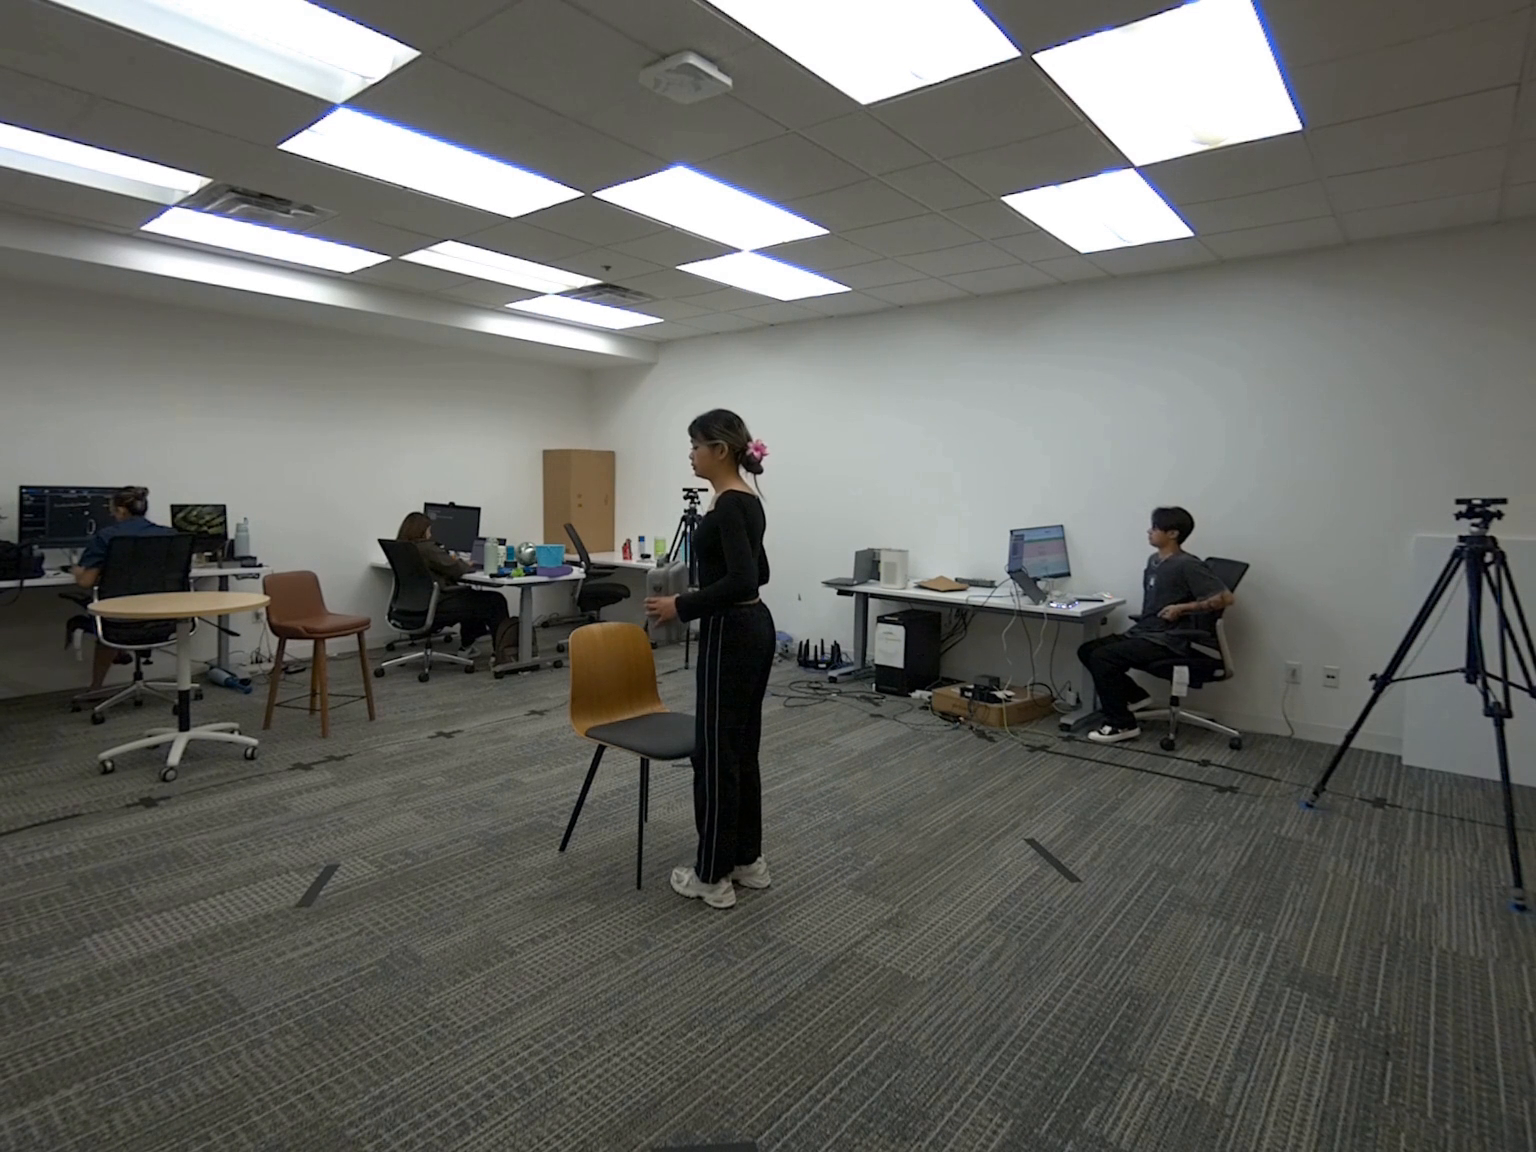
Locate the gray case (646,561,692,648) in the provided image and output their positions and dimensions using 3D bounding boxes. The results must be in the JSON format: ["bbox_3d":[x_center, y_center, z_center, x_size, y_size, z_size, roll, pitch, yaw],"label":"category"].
[{"bbox_3d":[-0.352,0.077,2.945,0.105,0.259,0.256,-4,7,7],"label":"gray case"}]
